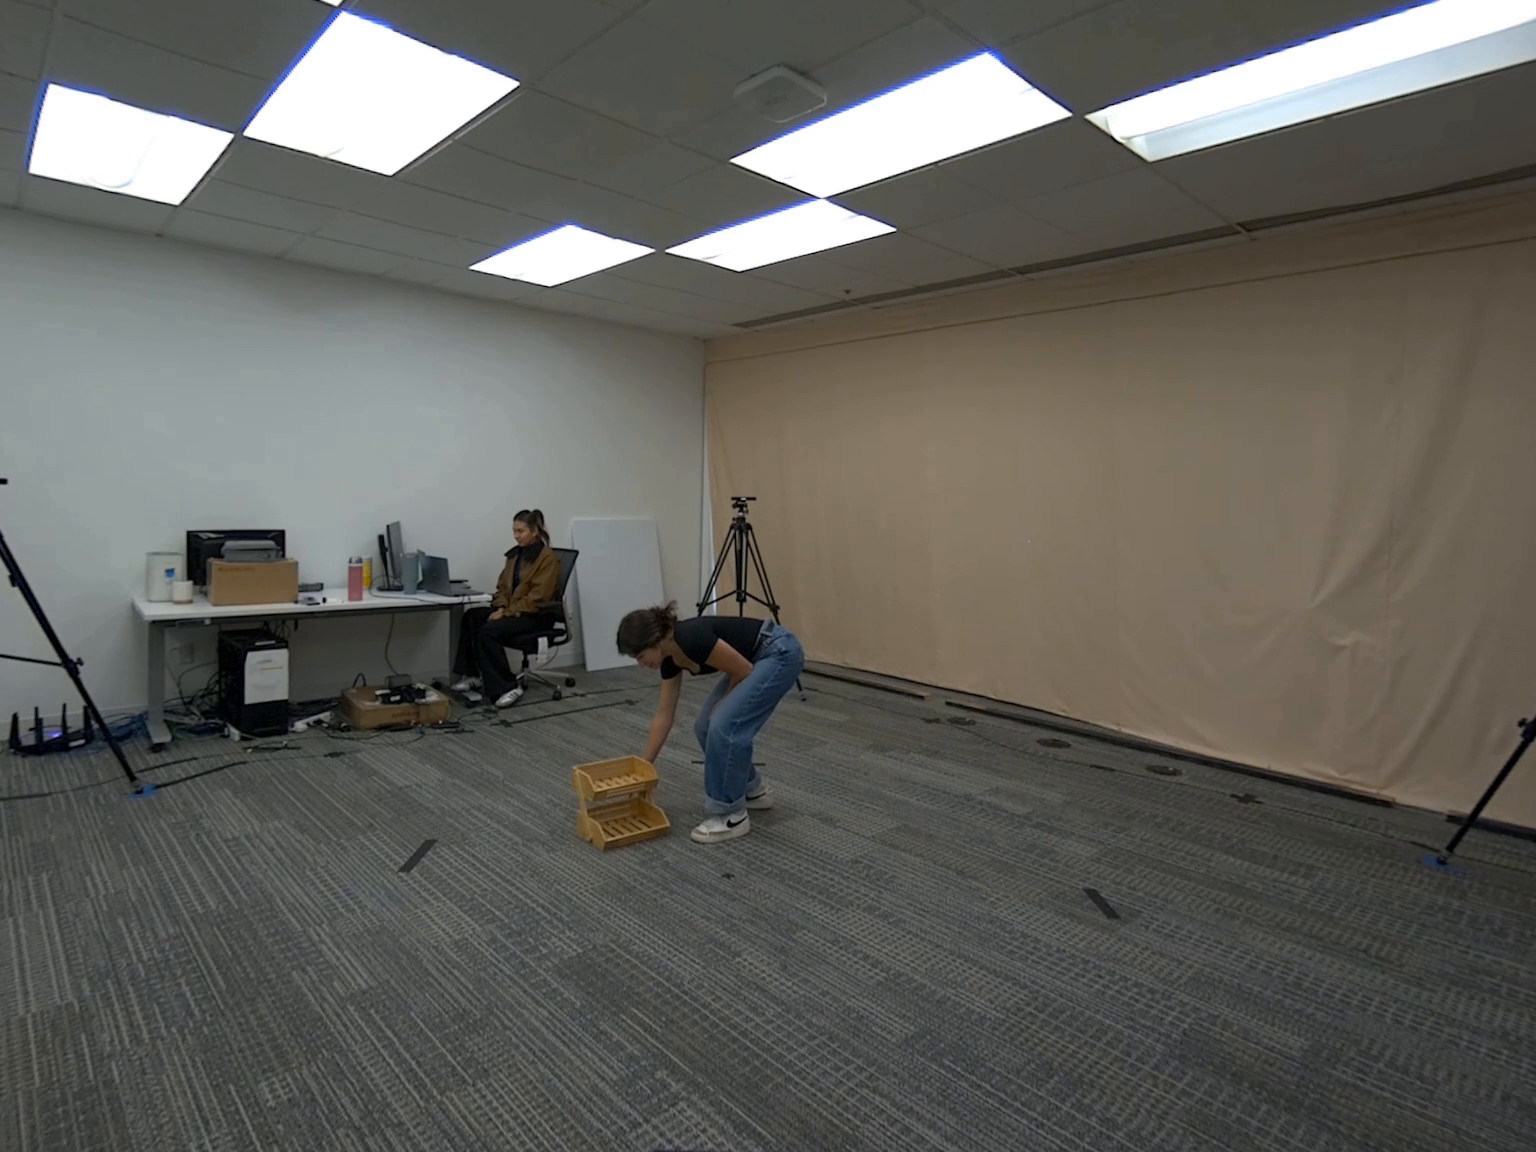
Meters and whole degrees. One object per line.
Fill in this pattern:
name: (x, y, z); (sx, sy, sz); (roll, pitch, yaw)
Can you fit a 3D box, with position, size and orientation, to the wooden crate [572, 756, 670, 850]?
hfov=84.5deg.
wooden crate: (-0.619, 0.928, 3.480); (0.317, 0.273, 0.309); (-1, 4, -39)
